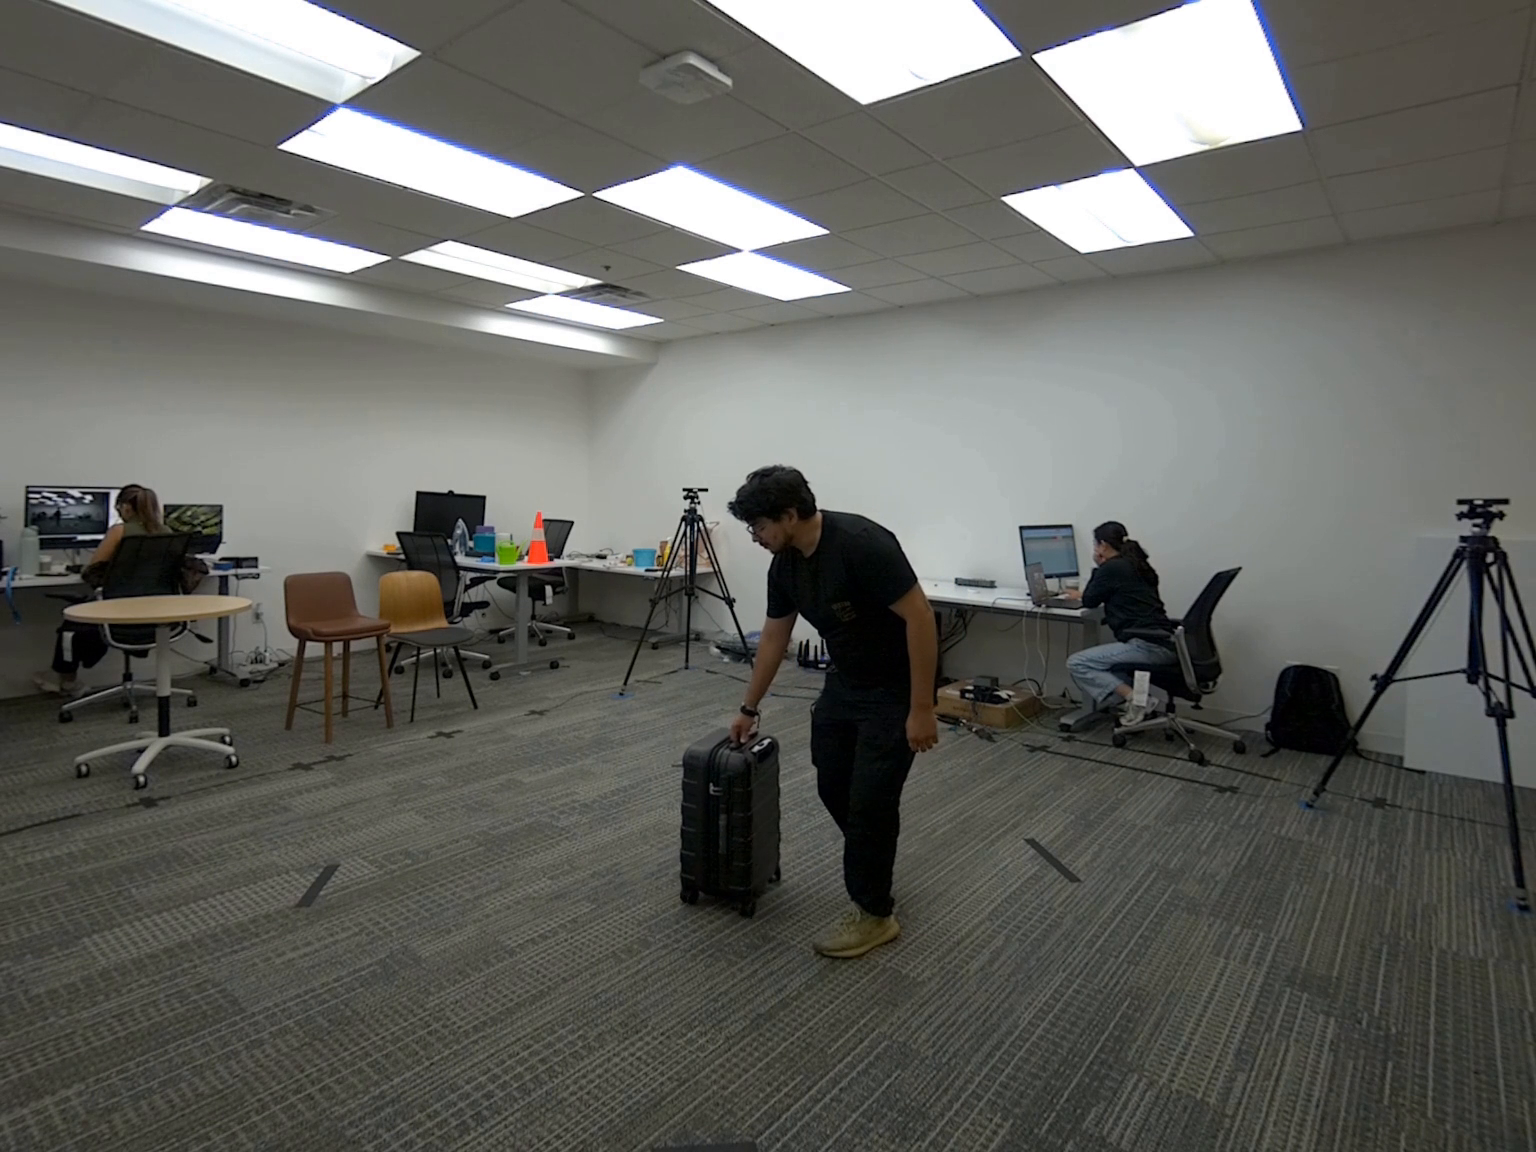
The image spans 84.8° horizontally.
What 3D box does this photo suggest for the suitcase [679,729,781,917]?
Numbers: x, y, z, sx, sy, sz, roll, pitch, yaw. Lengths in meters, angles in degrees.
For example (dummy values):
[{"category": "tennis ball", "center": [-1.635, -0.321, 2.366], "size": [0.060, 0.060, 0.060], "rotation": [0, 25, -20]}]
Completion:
[{"category": "suitcase", "center": [-0.131, 0.818, 2.926], "size": [0.254, 0.548, 0.368], "rotation": [1, 4, 20]}]
